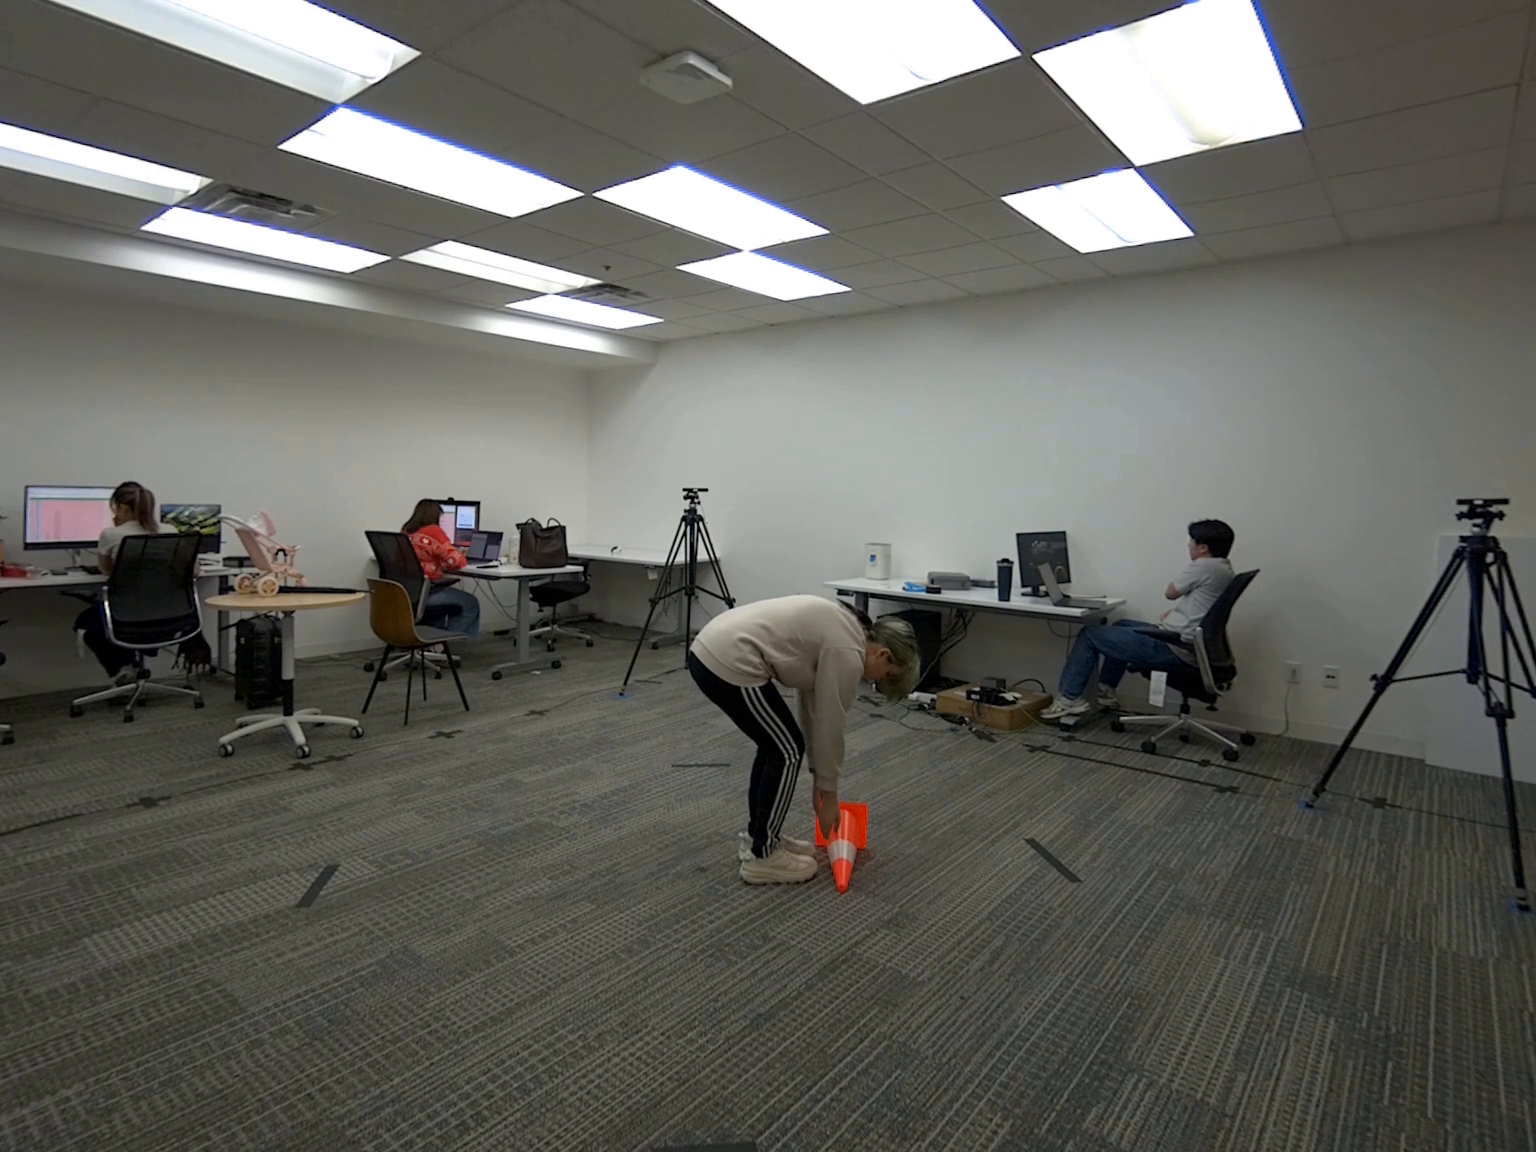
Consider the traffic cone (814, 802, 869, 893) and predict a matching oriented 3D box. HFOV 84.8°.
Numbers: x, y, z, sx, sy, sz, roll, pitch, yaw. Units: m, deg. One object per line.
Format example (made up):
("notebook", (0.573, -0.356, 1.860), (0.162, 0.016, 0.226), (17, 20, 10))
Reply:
("traffic cone", (0.271, 1.028, 3.131), (0.204, 0.201, 0.388), (-1, 18, 3))
